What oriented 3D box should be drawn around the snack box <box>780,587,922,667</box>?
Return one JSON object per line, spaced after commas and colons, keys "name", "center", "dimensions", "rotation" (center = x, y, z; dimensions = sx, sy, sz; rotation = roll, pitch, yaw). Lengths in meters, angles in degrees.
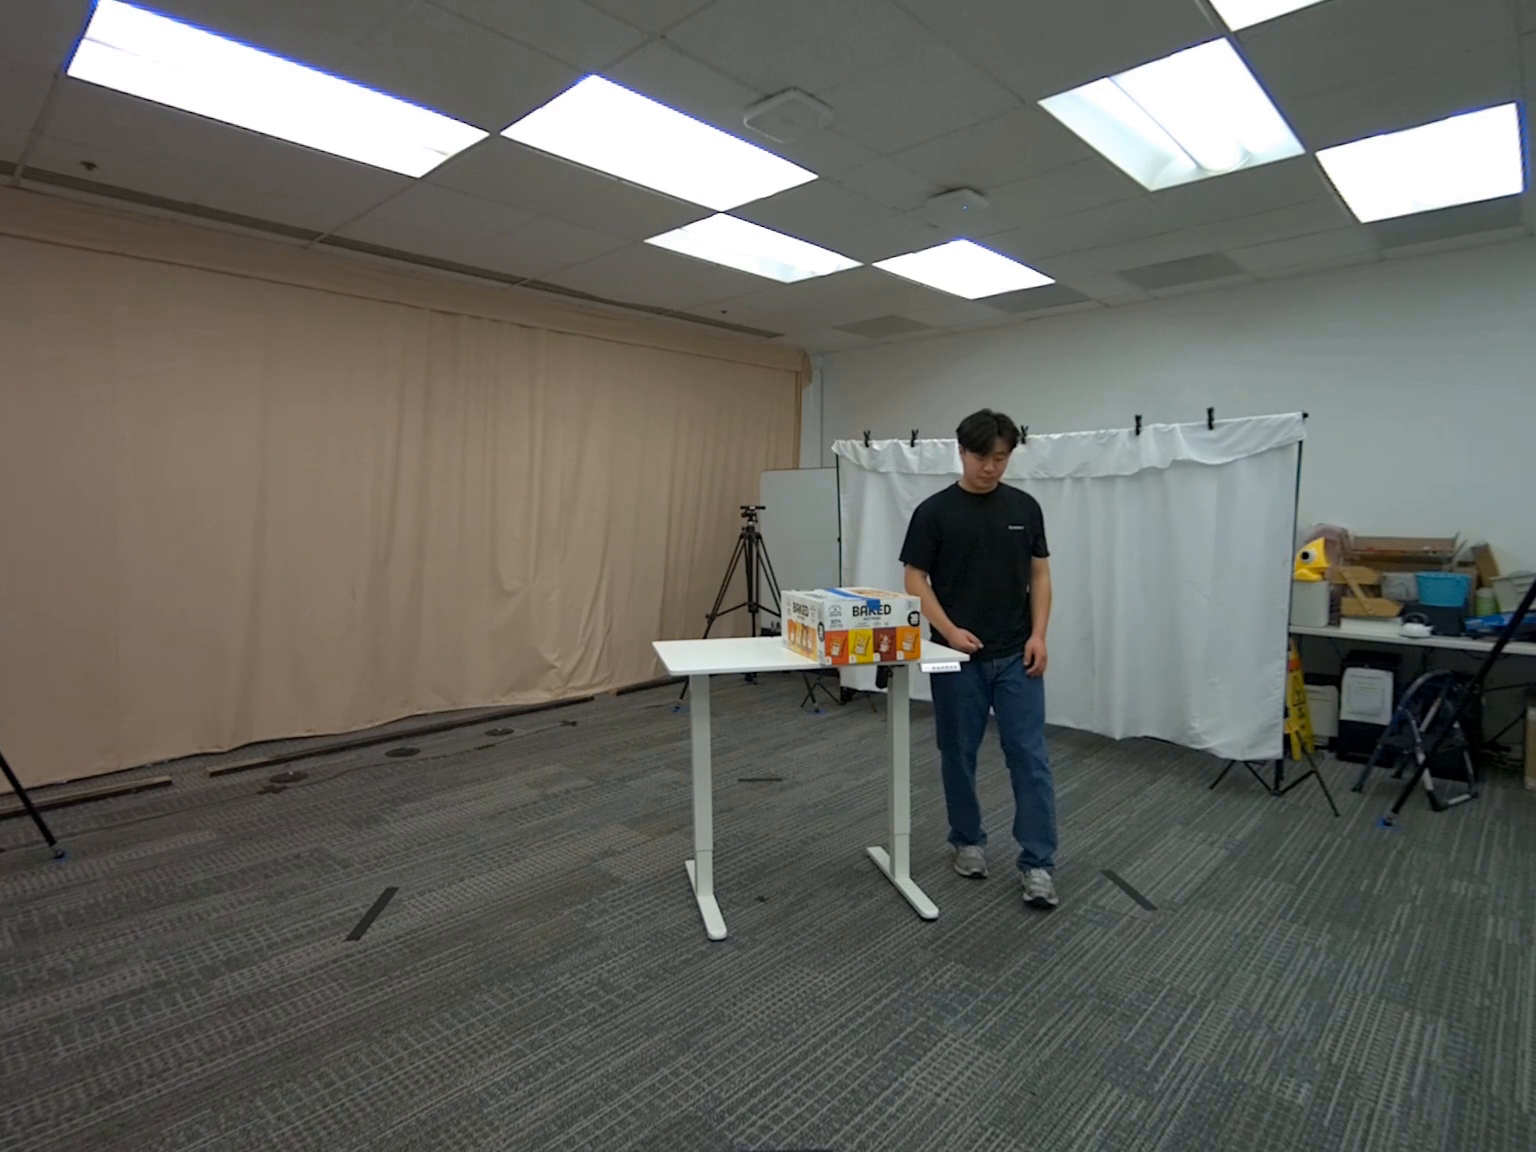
{"name": "snack box", "center": [0.278, 0.162, 2.889], "dimensions": [0.335, 0.205, 0.413], "rotation": [-2, 4, -17]}
